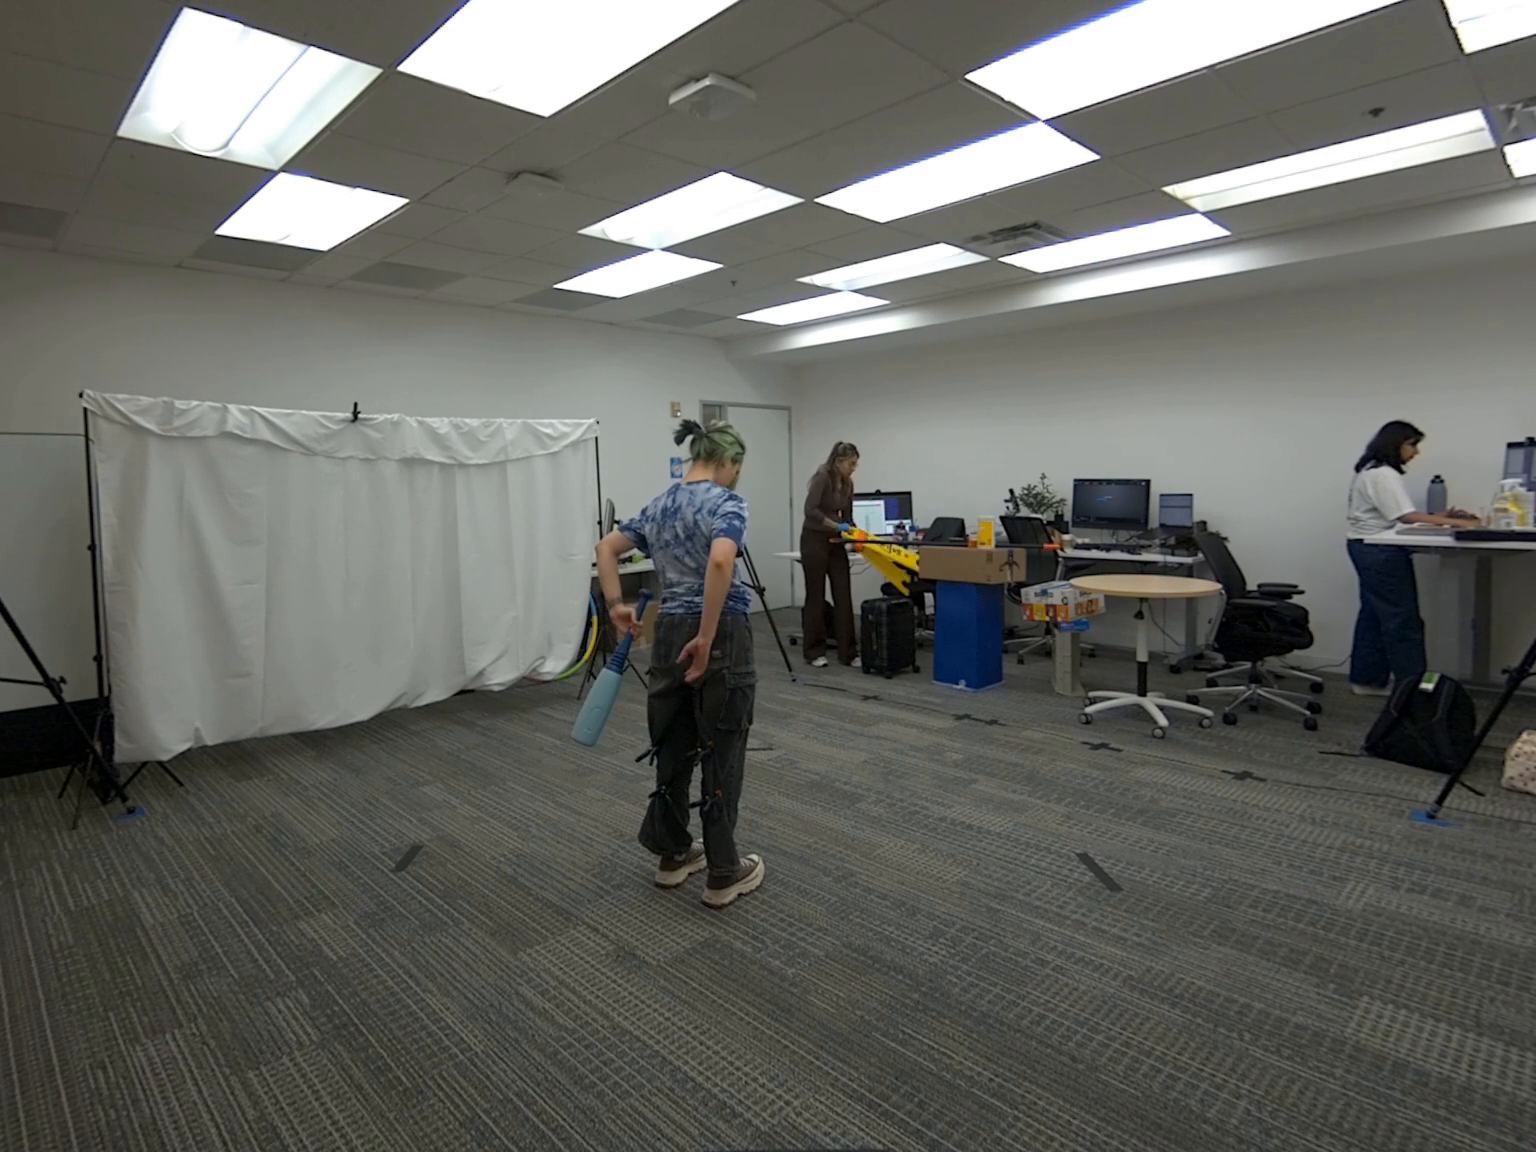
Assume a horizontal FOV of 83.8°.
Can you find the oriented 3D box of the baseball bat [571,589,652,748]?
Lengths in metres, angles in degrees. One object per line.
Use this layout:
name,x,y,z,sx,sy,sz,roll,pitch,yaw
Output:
baseball bat,-0.490,0.299,2.812,0.089,0.546,0.088,21,-13,3
